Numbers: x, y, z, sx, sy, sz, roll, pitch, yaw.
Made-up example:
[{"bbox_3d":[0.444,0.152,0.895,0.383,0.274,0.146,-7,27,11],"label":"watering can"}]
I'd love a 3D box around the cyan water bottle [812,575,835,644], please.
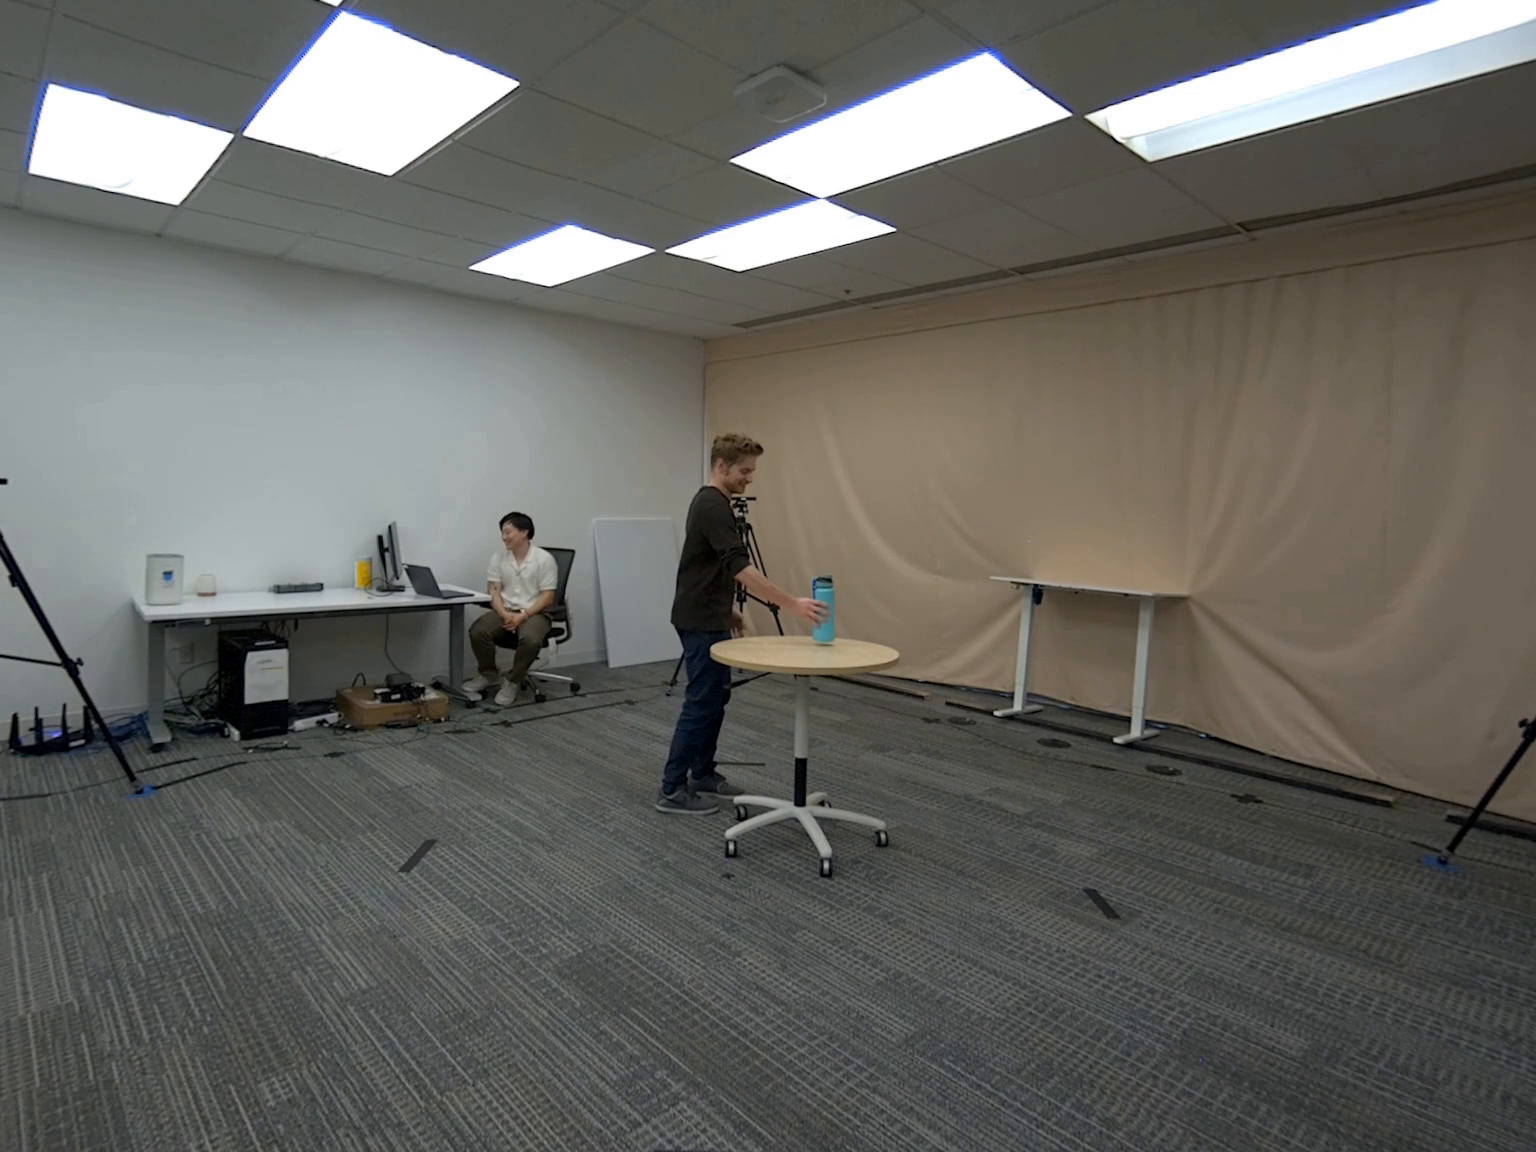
[{"bbox_3d":[0.229,0.136,3.556,0.092,0.282,0.092,-1,4,-1],"label":"cyan water bottle"}]
